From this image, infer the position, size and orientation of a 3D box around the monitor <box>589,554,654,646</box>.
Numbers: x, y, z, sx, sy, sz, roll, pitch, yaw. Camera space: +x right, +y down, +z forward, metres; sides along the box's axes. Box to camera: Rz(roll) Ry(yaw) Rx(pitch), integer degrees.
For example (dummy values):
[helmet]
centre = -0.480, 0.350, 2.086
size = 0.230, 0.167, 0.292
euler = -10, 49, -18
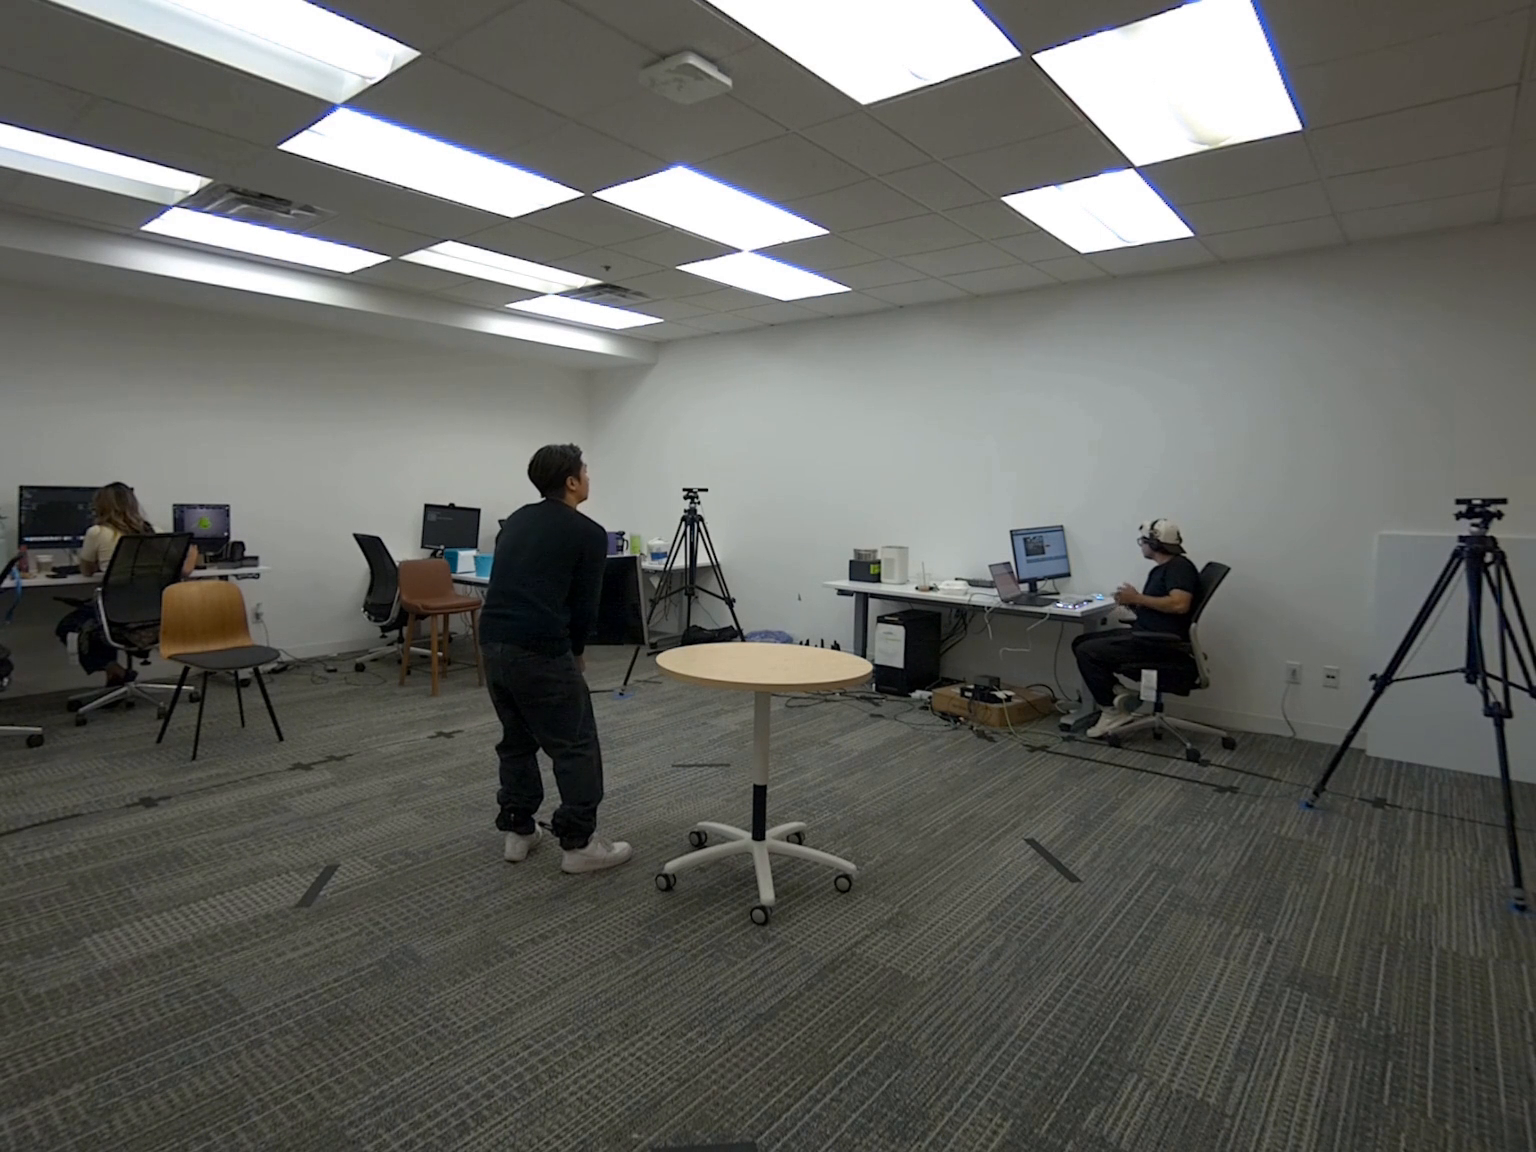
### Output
[monitor]
centre = -0.765, 0.192, 3.442
size = 0.552, 0.526, 0.181
euler = -3, -7, 26
